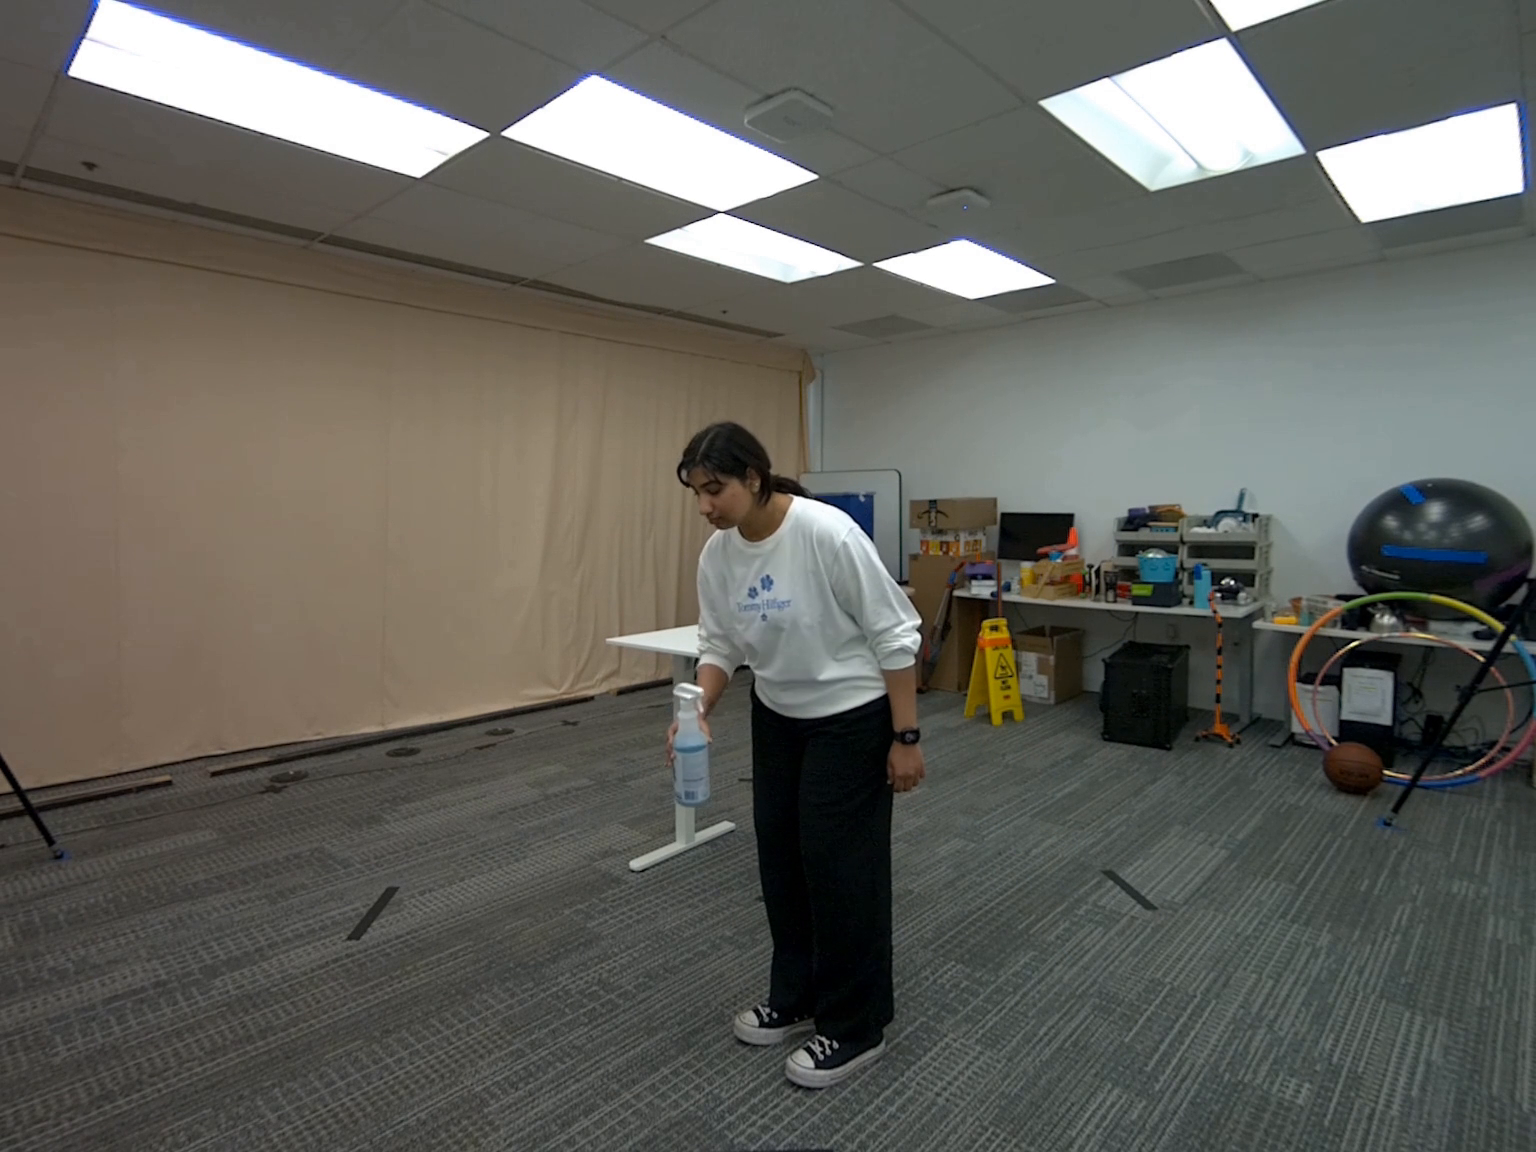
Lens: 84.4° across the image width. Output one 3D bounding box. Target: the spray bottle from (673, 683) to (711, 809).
[{"bbox_3d":[-0.174,0.392,1.966,0.085,0.294,0.093,-8,18,-22],"label":"spray bottle"}]
